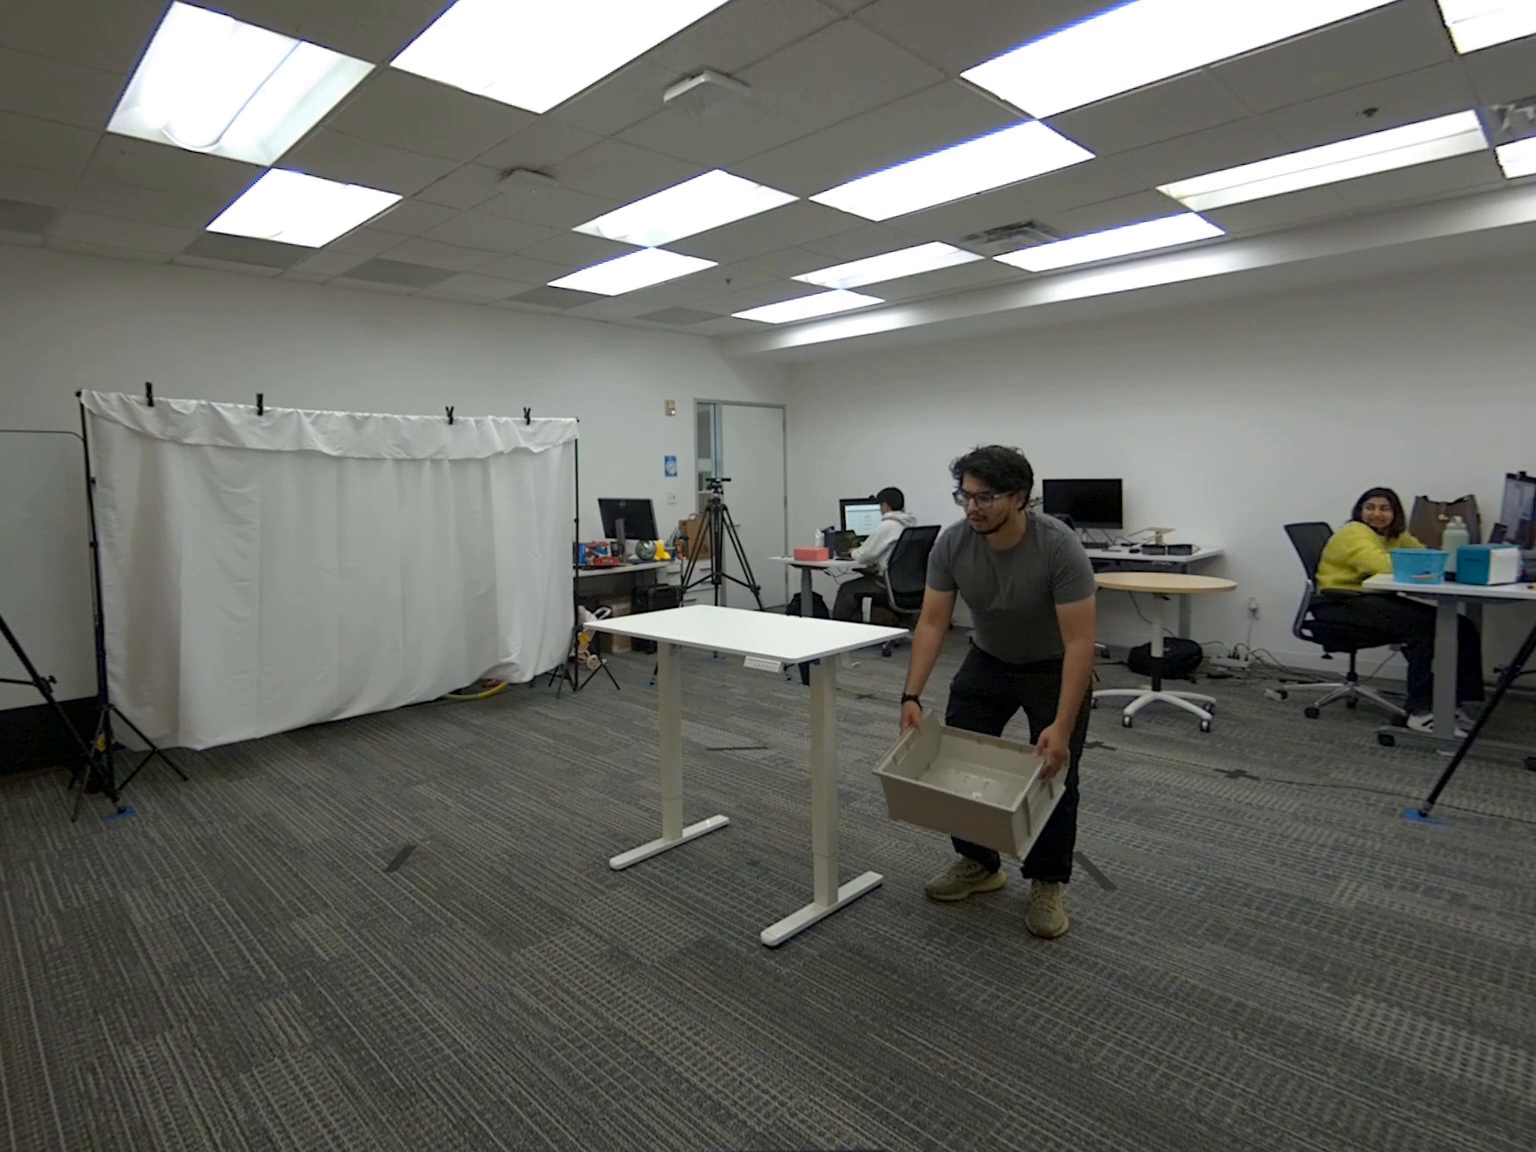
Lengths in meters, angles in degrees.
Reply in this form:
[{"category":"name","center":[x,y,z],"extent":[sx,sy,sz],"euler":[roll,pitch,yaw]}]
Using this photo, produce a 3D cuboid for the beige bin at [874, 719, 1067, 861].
[{"category":"beige bin","center":[0.588,0.567,2.448],"extent":[0.435,0.185,0.374],"euler":[5,30,42]}]
